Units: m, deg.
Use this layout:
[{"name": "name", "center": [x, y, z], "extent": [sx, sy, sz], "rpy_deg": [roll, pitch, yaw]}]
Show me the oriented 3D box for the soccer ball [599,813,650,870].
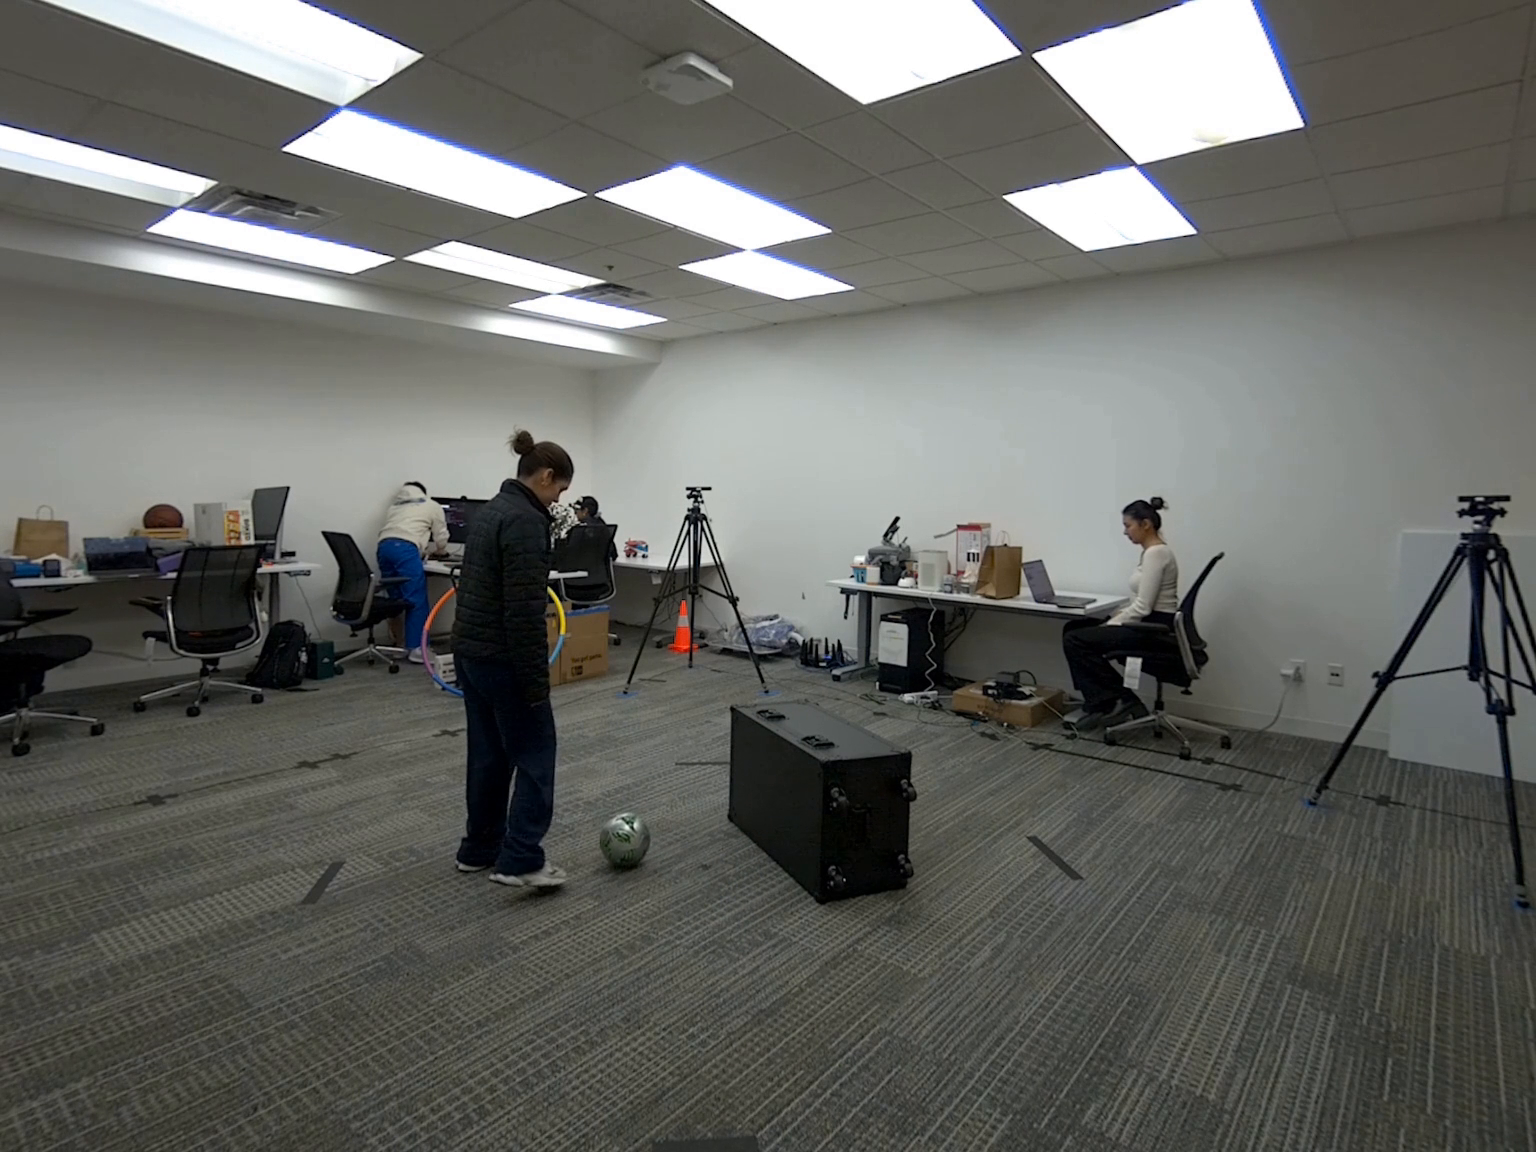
[{"name": "soccer ball", "center": [-0.528, 0.975, 3.132], "extent": [0.187, 0.187, 0.188], "rpy_deg": [1, 4, -2]}]
